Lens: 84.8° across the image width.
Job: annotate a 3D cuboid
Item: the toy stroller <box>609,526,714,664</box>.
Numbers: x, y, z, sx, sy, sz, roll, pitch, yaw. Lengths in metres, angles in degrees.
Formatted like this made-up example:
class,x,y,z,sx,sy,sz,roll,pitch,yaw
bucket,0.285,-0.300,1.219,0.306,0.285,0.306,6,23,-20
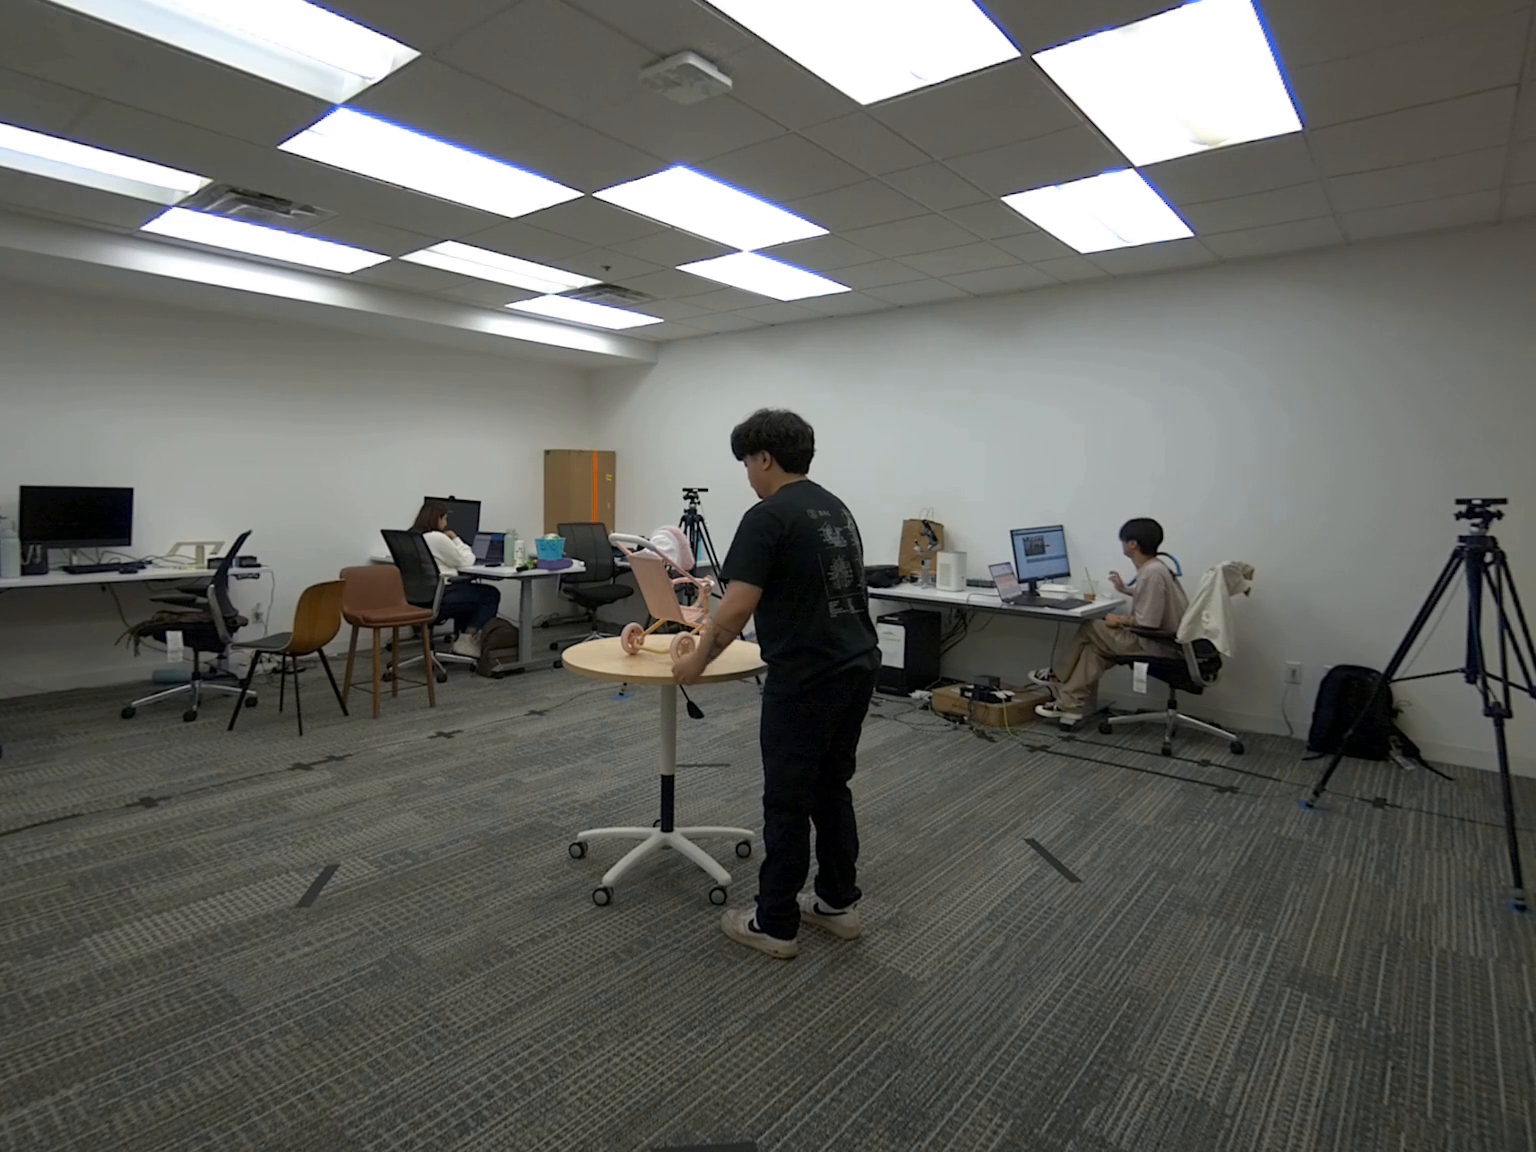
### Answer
class,x,y,z,sx,sy,sz,roll,pitch,yaw
toy stroller,-0.357,0.059,3.005,0.291,0.526,0.335,5,21,44
